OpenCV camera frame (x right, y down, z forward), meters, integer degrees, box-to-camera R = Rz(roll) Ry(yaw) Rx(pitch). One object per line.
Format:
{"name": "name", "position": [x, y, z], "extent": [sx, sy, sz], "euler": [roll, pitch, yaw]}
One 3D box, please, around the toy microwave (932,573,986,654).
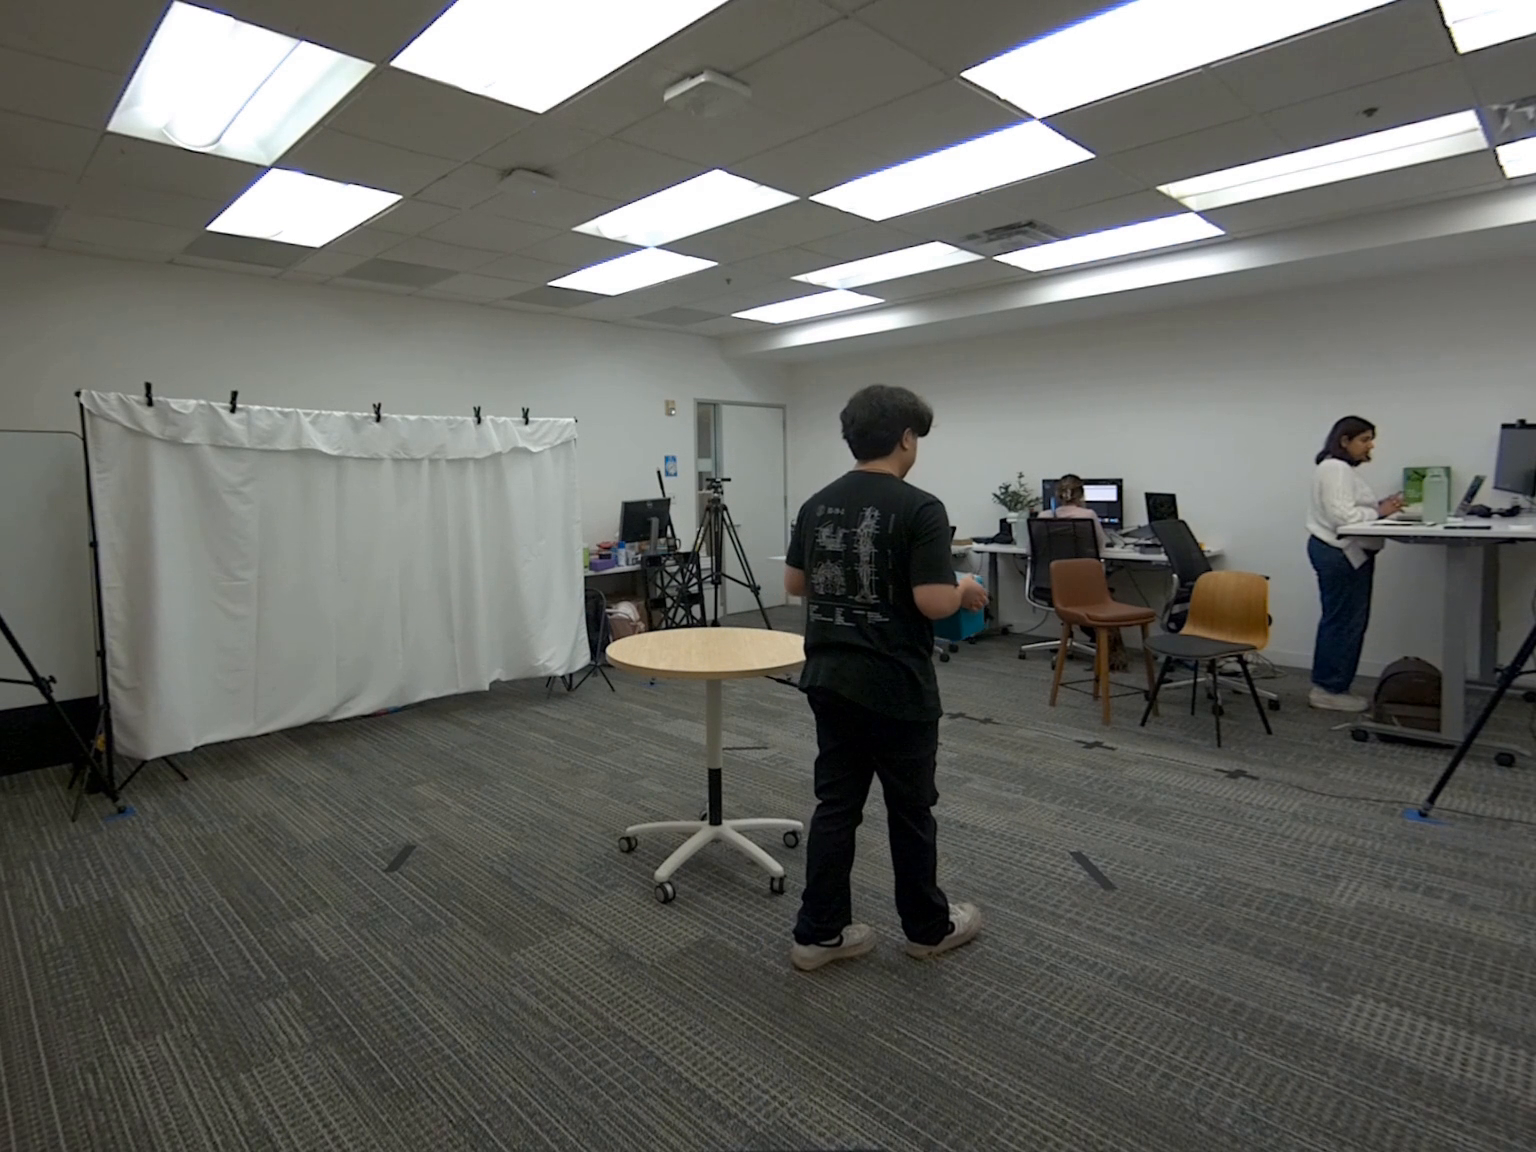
{"name": "toy microwave", "position": [0.519, 0.078, 2.632], "extent": [0.149, 0.182, 0.296], "euler": [-16, 18, -41]}
